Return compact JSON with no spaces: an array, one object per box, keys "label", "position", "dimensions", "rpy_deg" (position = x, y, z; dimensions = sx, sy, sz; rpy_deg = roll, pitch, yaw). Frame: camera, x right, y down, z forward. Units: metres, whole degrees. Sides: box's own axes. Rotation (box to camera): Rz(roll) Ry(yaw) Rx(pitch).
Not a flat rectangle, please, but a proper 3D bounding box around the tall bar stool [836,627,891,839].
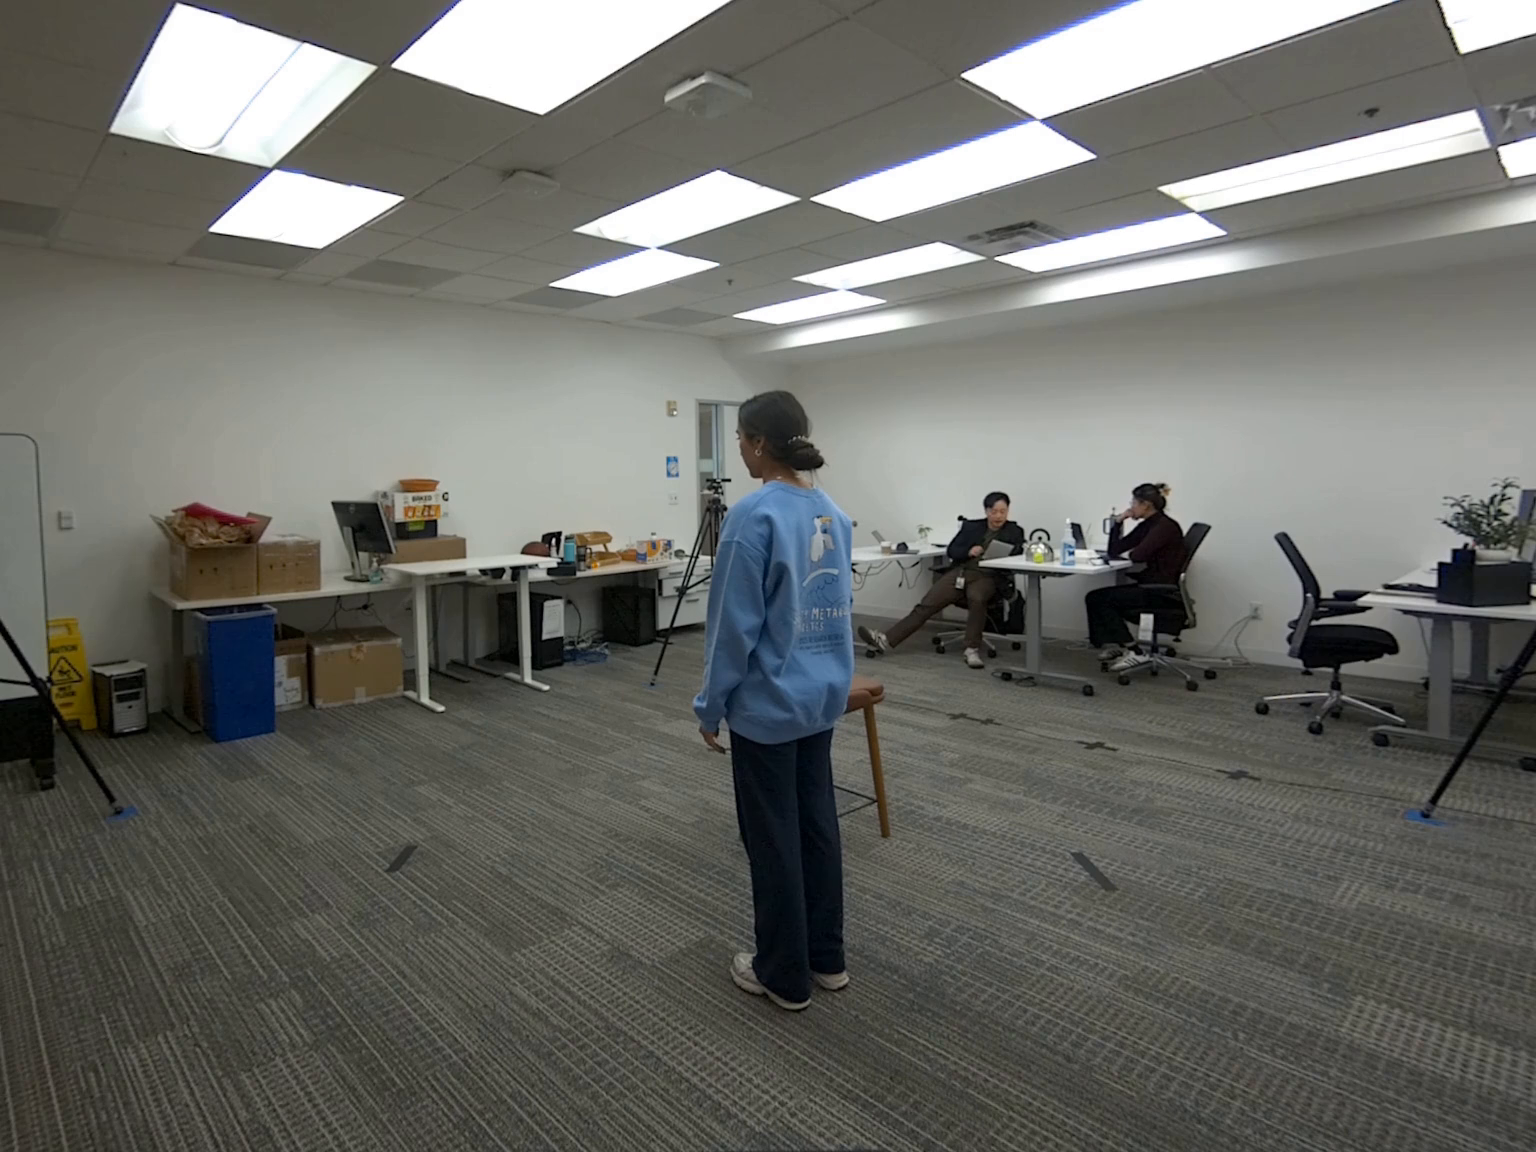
[{"label":"tall bar stool","position":[0.170,0.585,3.293],"dimensions":[0.456,0.885,0.471],"rpy_deg":[-7,7,-42]}]
